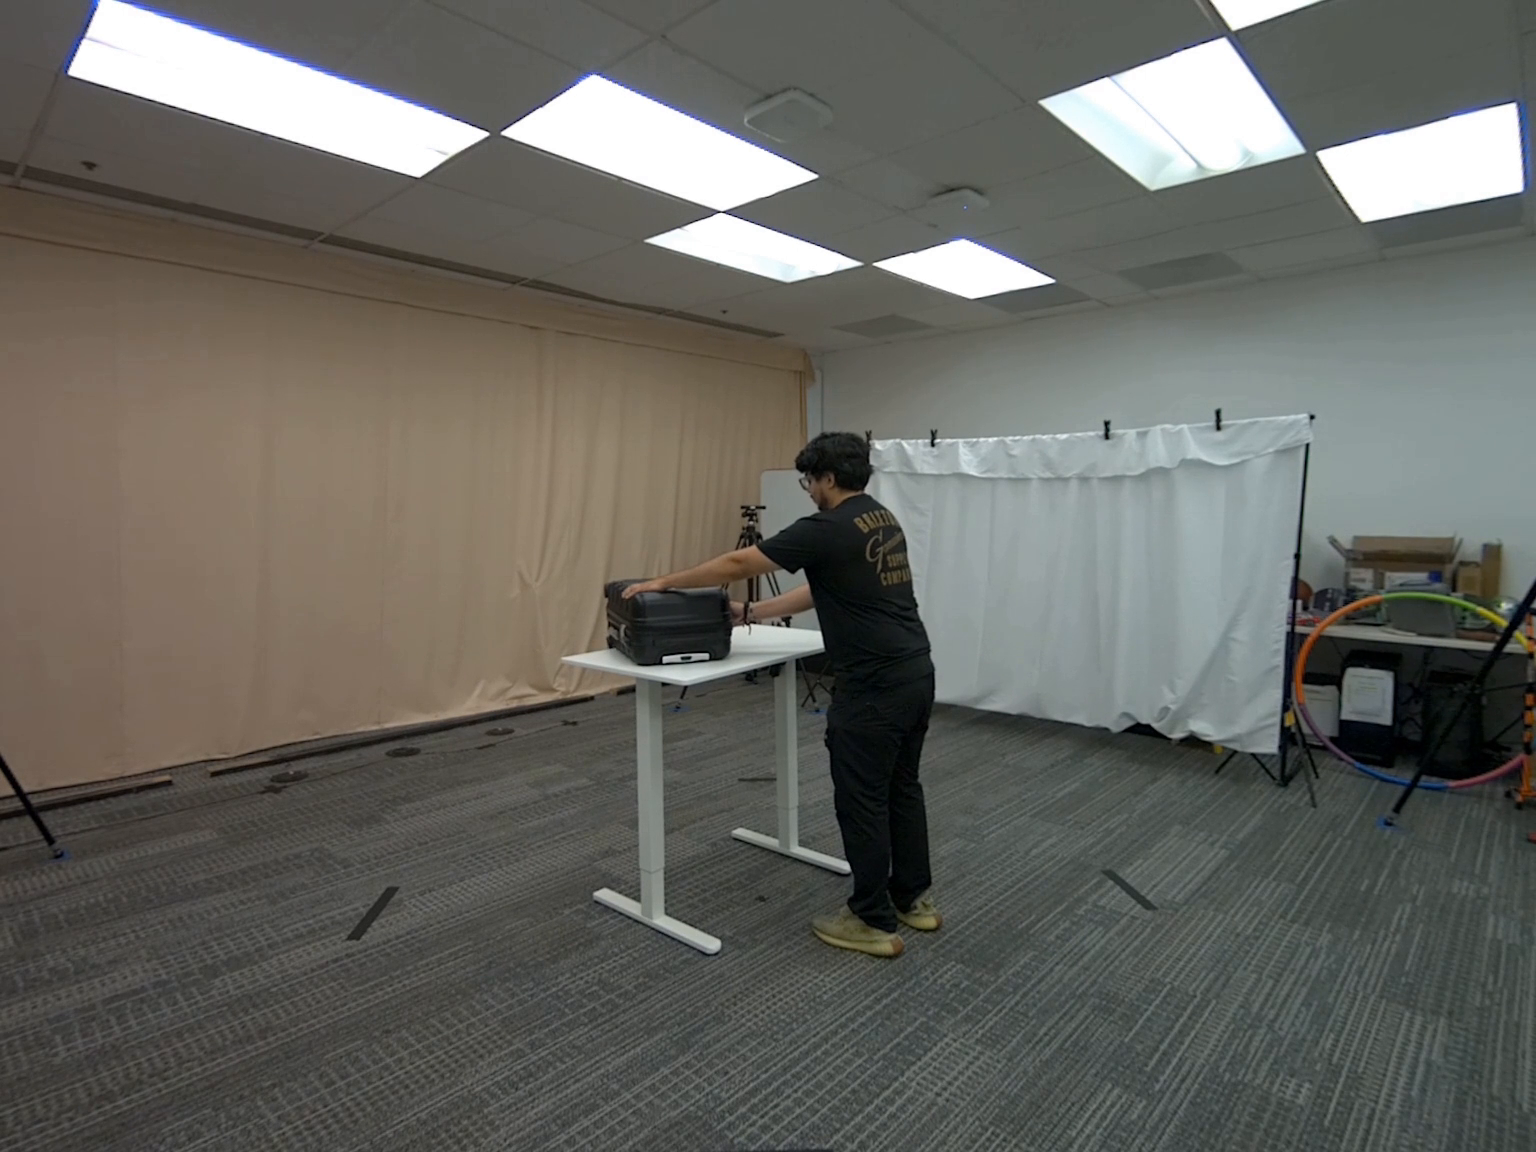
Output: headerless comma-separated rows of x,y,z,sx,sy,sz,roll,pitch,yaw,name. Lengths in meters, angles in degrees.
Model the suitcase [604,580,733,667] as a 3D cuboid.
-0.348,0.157,2.960,0.368,0.248,0.561,-2,3,-20,suitcase
